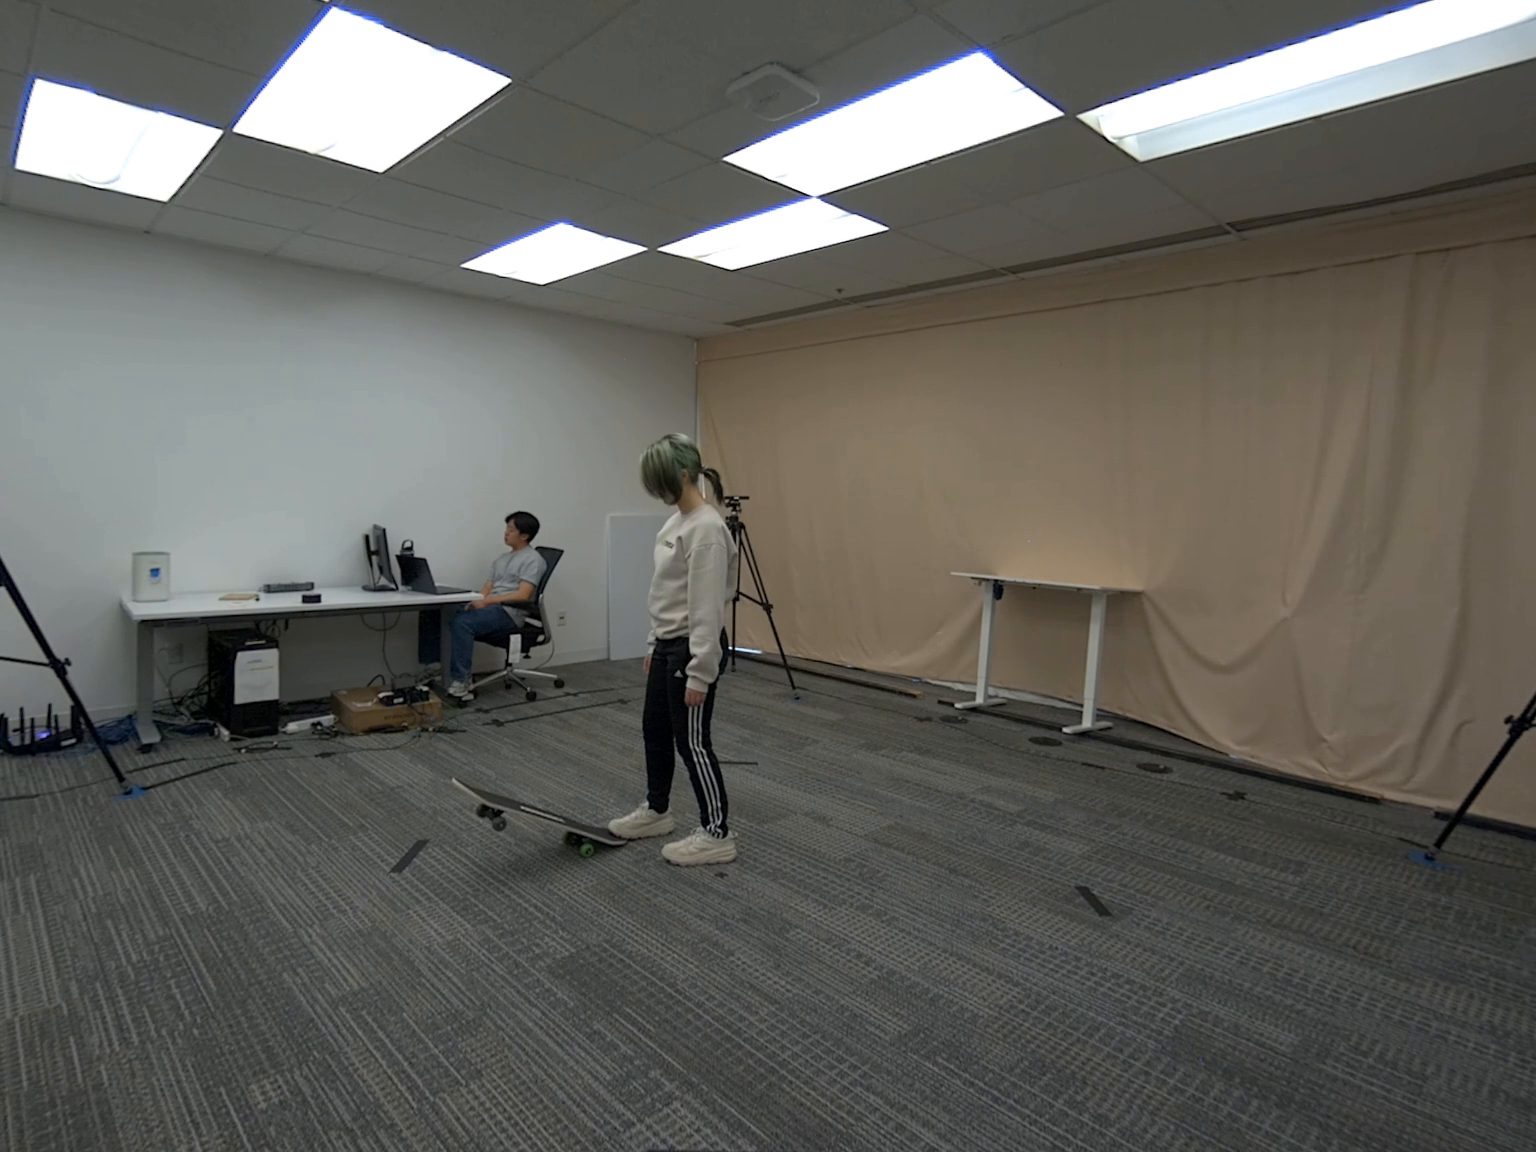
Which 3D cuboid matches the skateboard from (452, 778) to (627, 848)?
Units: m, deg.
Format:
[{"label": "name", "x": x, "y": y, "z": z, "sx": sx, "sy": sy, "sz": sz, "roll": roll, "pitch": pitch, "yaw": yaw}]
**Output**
[{"label": "skateboard", "x": -0.867, "y": 0.936, "z": 3.195, "sx": 0.762, "sy": 0.111, "sz": 0.198, "roll": 32, "pitch": -15, "yaw": -35}]
